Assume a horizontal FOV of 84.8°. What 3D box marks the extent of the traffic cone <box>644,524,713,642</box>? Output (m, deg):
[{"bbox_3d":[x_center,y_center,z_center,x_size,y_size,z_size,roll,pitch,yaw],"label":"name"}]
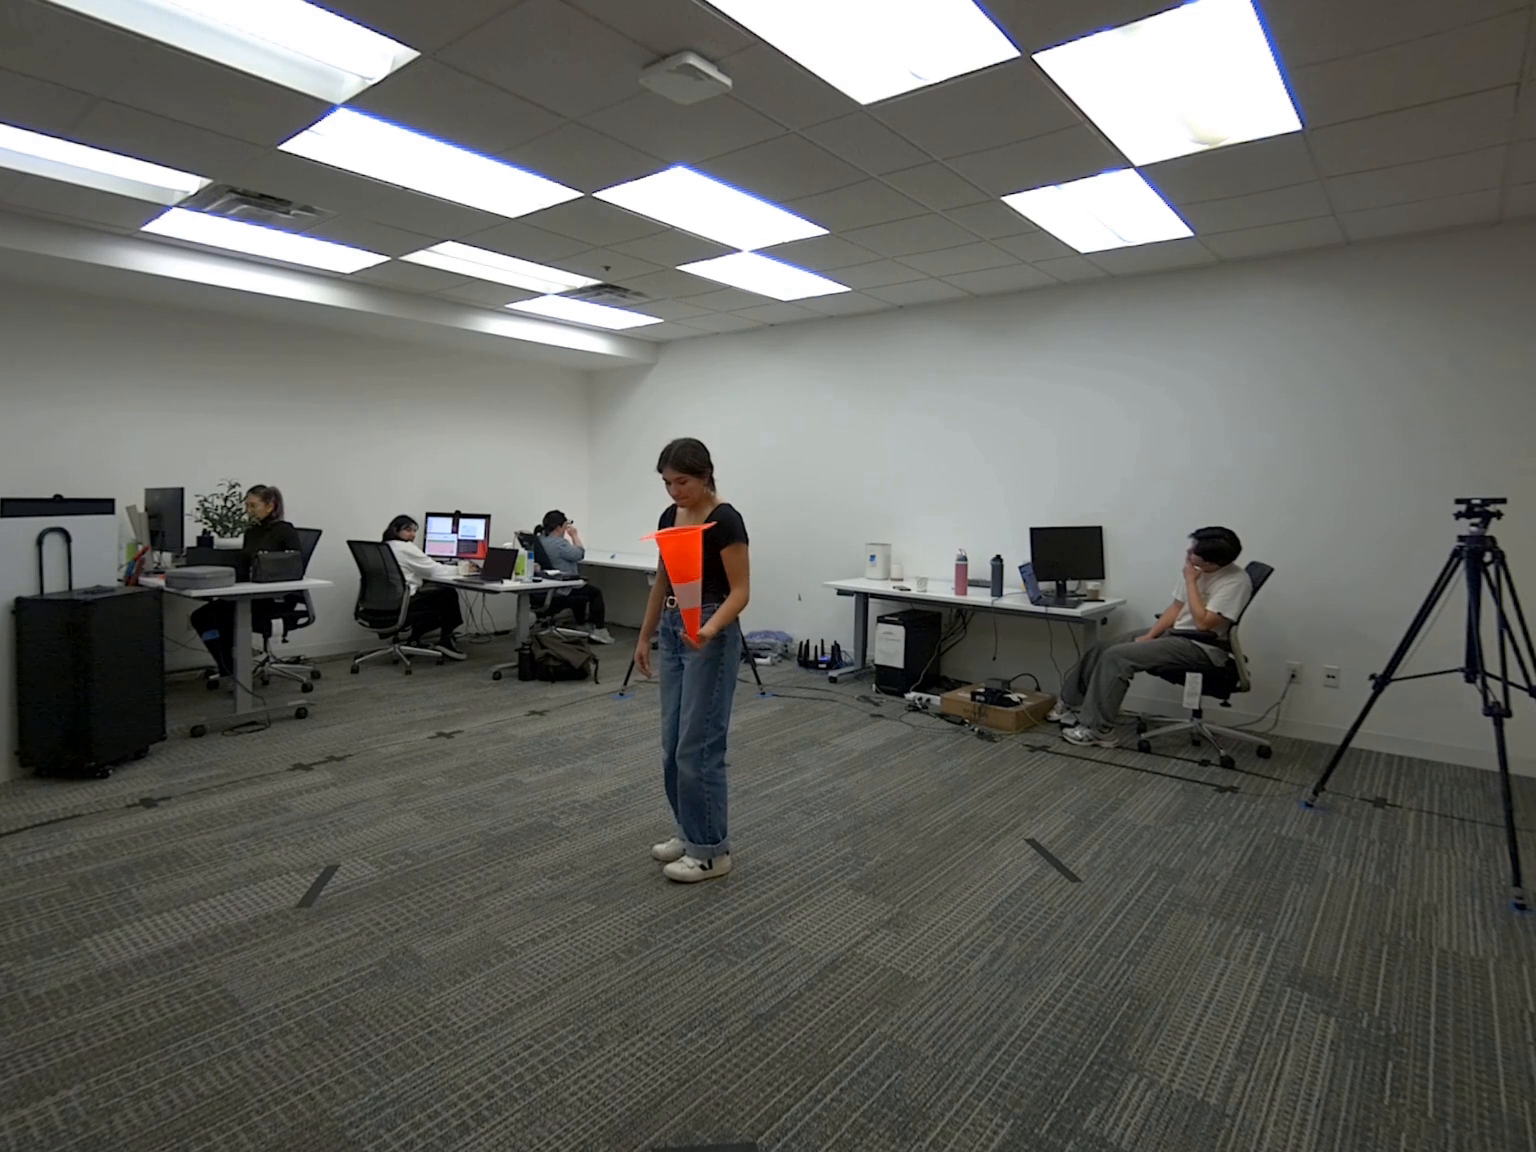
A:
[{"bbox_3d":[-0.287,0.029,2.808,0.210,0.381,0.199,-4,6,27],"label":"traffic cone"}]
